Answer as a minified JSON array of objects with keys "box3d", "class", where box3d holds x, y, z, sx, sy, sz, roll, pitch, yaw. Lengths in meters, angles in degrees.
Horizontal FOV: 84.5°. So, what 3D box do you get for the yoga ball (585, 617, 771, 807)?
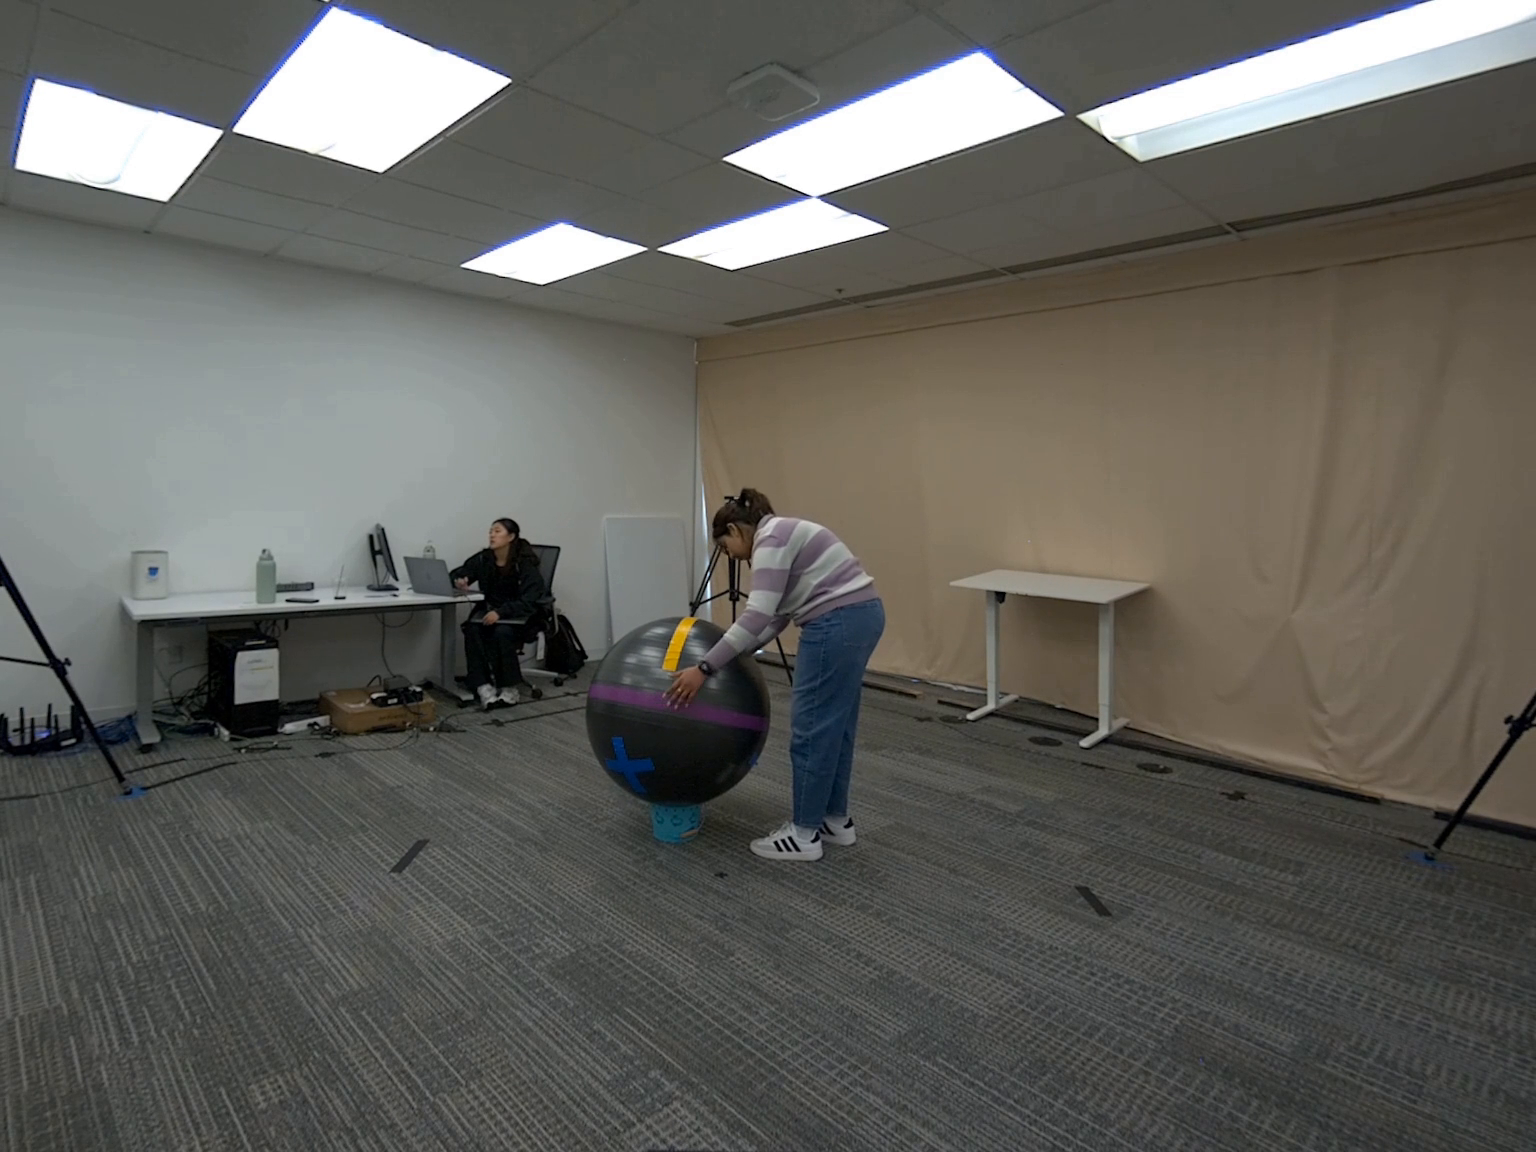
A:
[{"box3d":[-0.380,0.556,3.470,0.757,0.756,0.761,1,4,-1],"class":"yoga ball"}]
